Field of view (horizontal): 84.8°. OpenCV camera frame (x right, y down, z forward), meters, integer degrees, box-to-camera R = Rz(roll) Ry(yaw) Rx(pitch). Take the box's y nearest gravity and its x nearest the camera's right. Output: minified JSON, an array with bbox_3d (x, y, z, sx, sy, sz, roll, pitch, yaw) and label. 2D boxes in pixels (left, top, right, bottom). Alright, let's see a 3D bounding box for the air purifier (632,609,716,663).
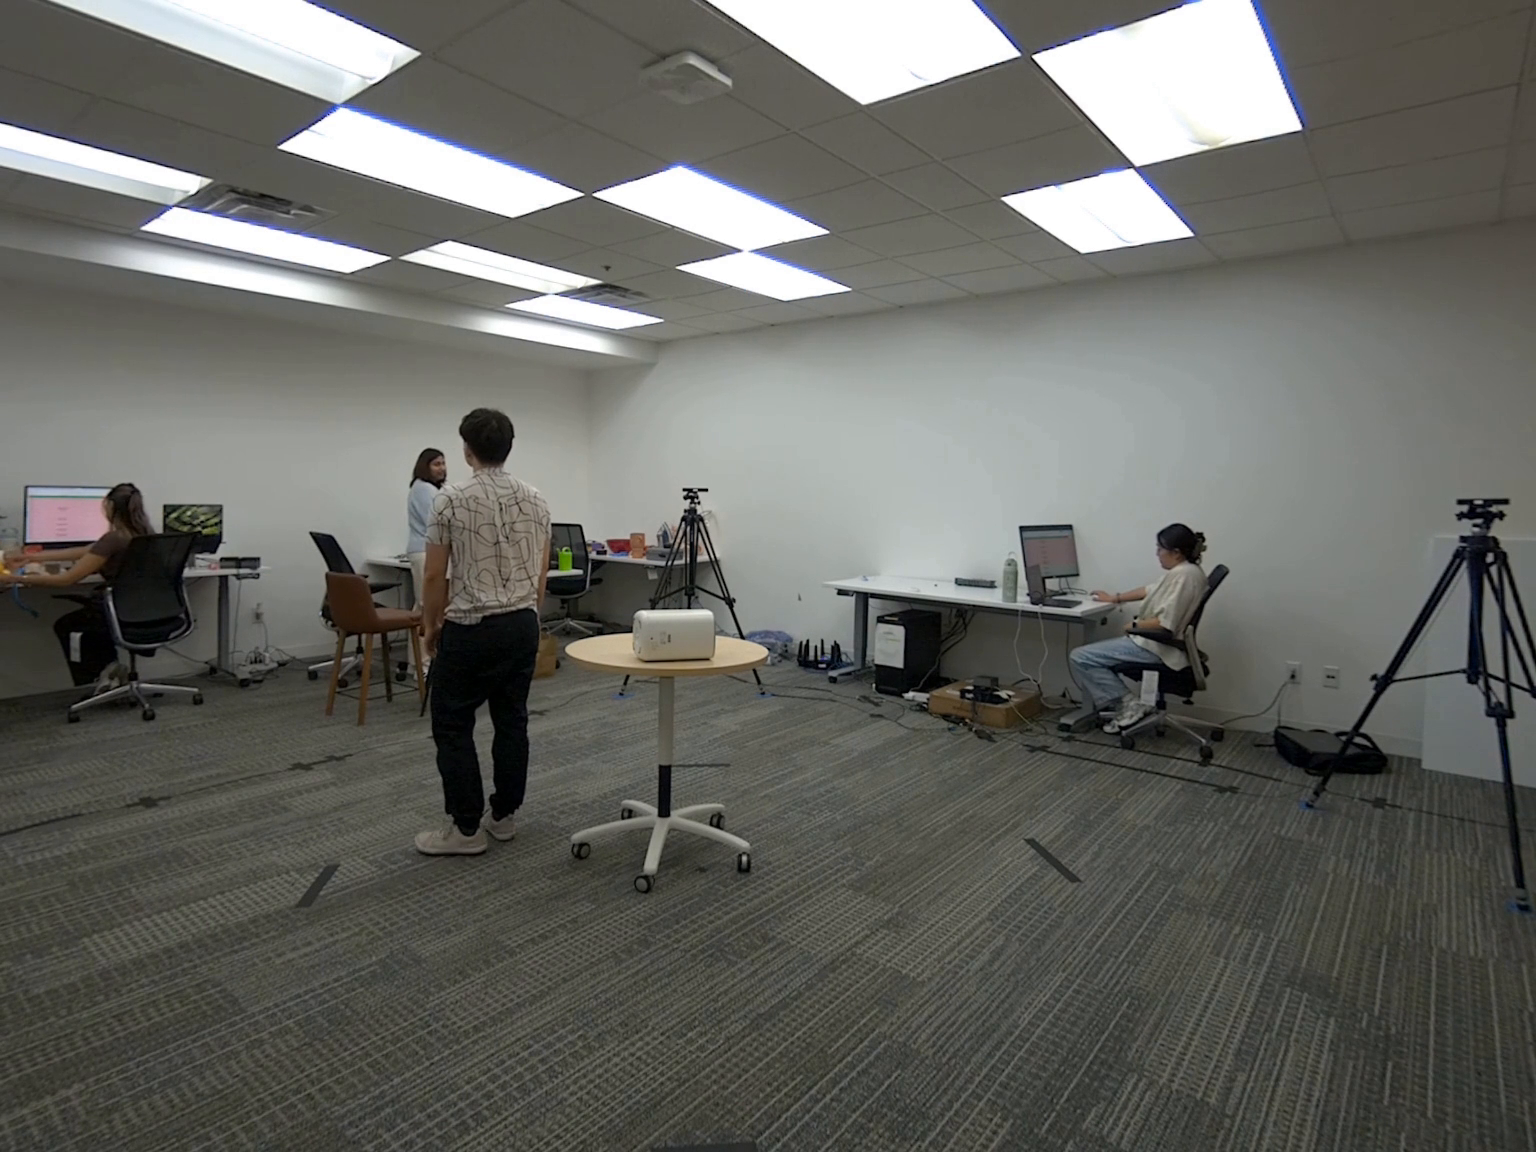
[{"bbox_3d":[-0.347,0.204,3.023,0.260,0.170,0.175,0,4,-20],"label":"air purifier"}]
